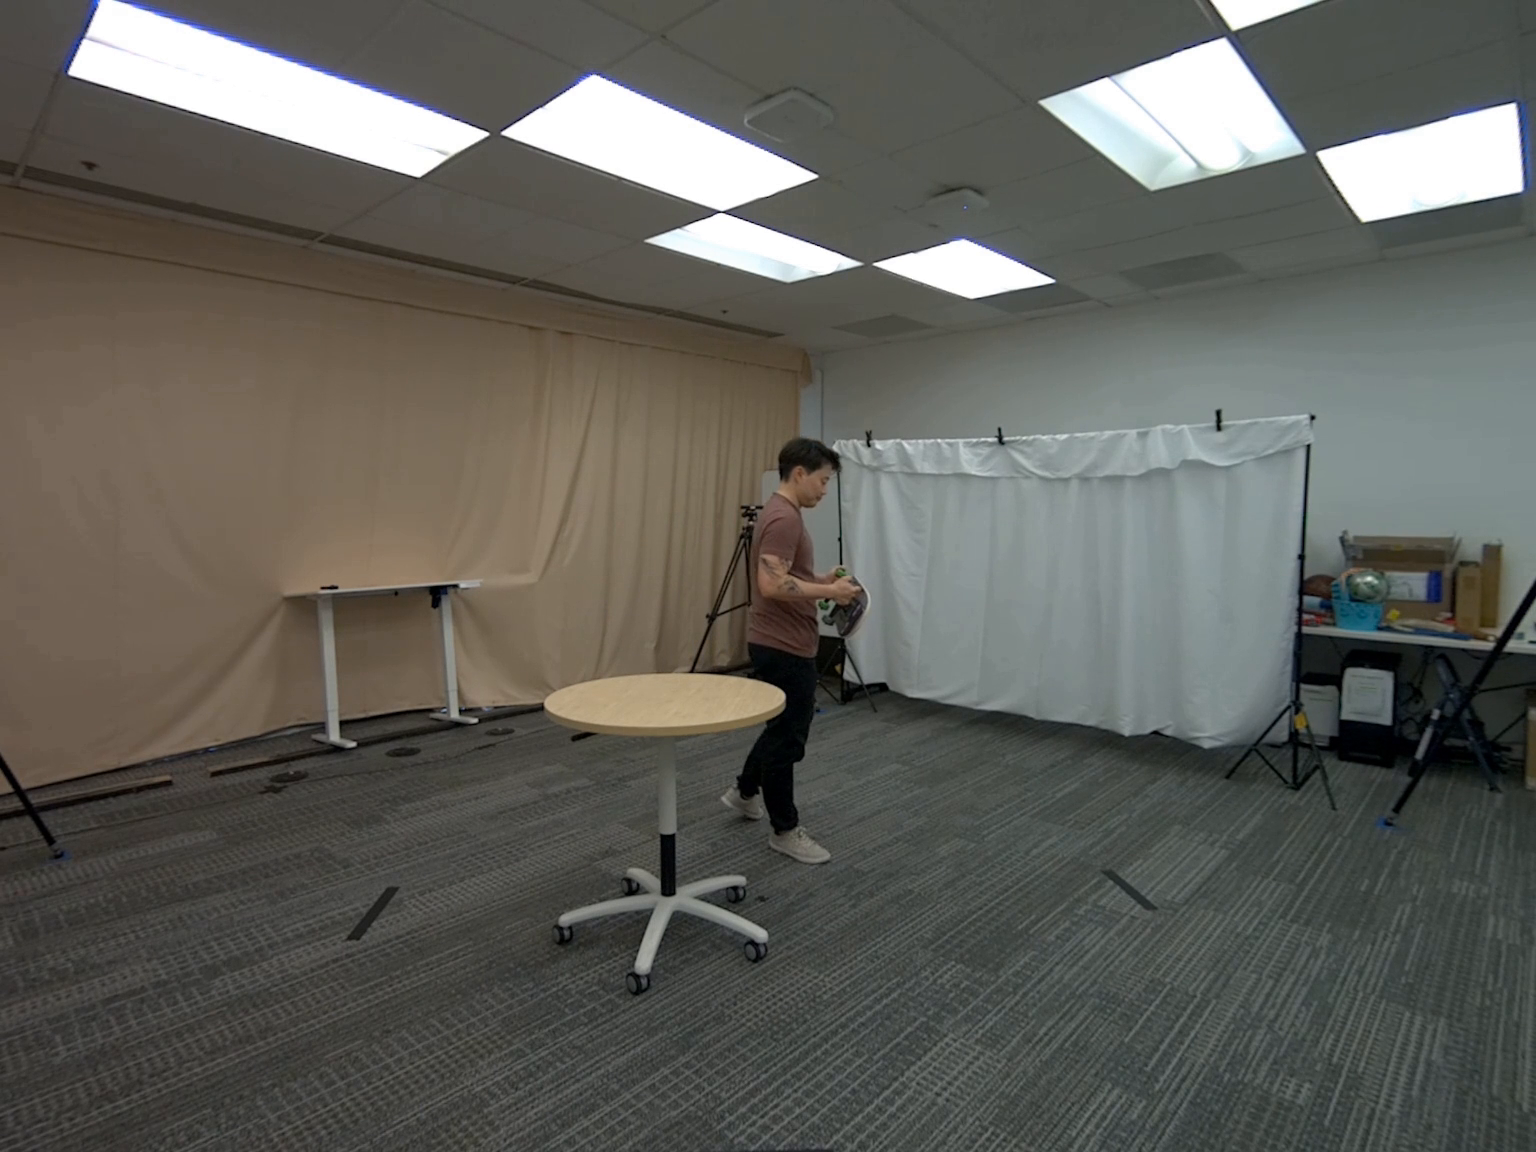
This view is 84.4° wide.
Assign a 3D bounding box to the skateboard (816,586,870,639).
[{"bbox_3d":[0.294,0.100,3.384,0.110,0.193,0.787,31,5,-3],"label":"skateboard"}]
